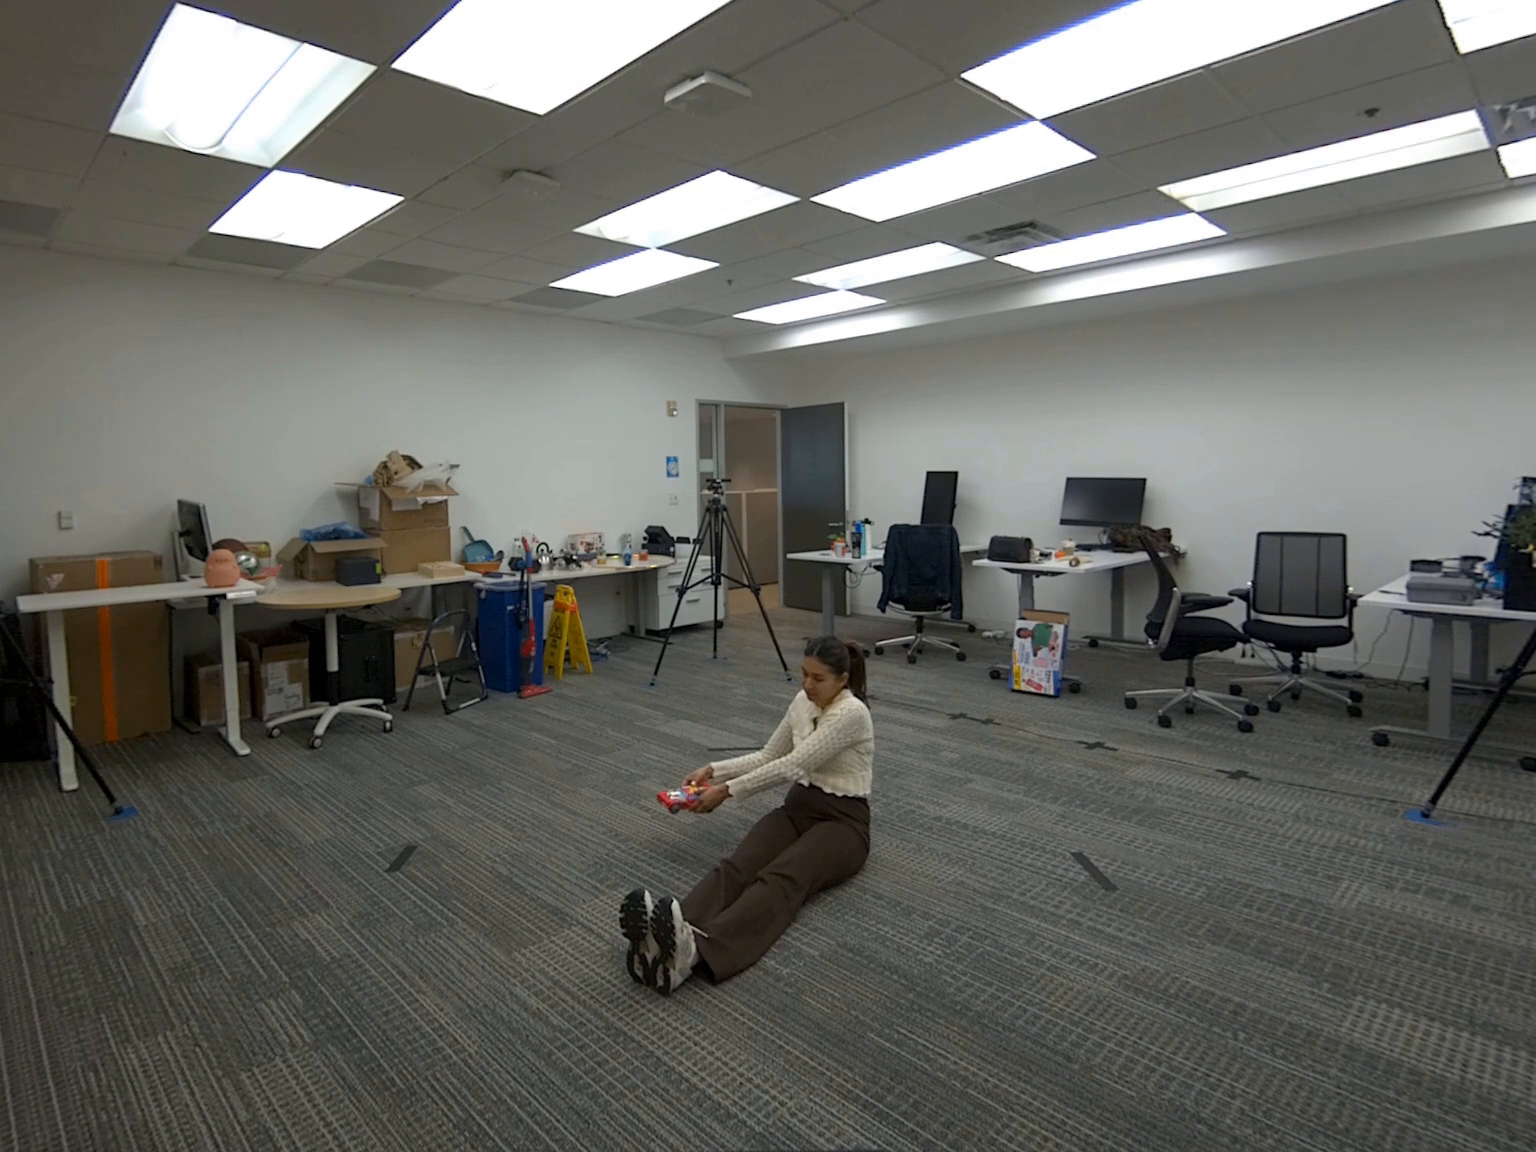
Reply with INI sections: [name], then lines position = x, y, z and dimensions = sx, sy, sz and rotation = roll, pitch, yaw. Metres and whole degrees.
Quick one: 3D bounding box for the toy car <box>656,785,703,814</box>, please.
[toy car]
position = -0.278, 0.830, 3.174
dimensions = 0.248, 0.083, 0.134
rotation = -2, 9, -32
